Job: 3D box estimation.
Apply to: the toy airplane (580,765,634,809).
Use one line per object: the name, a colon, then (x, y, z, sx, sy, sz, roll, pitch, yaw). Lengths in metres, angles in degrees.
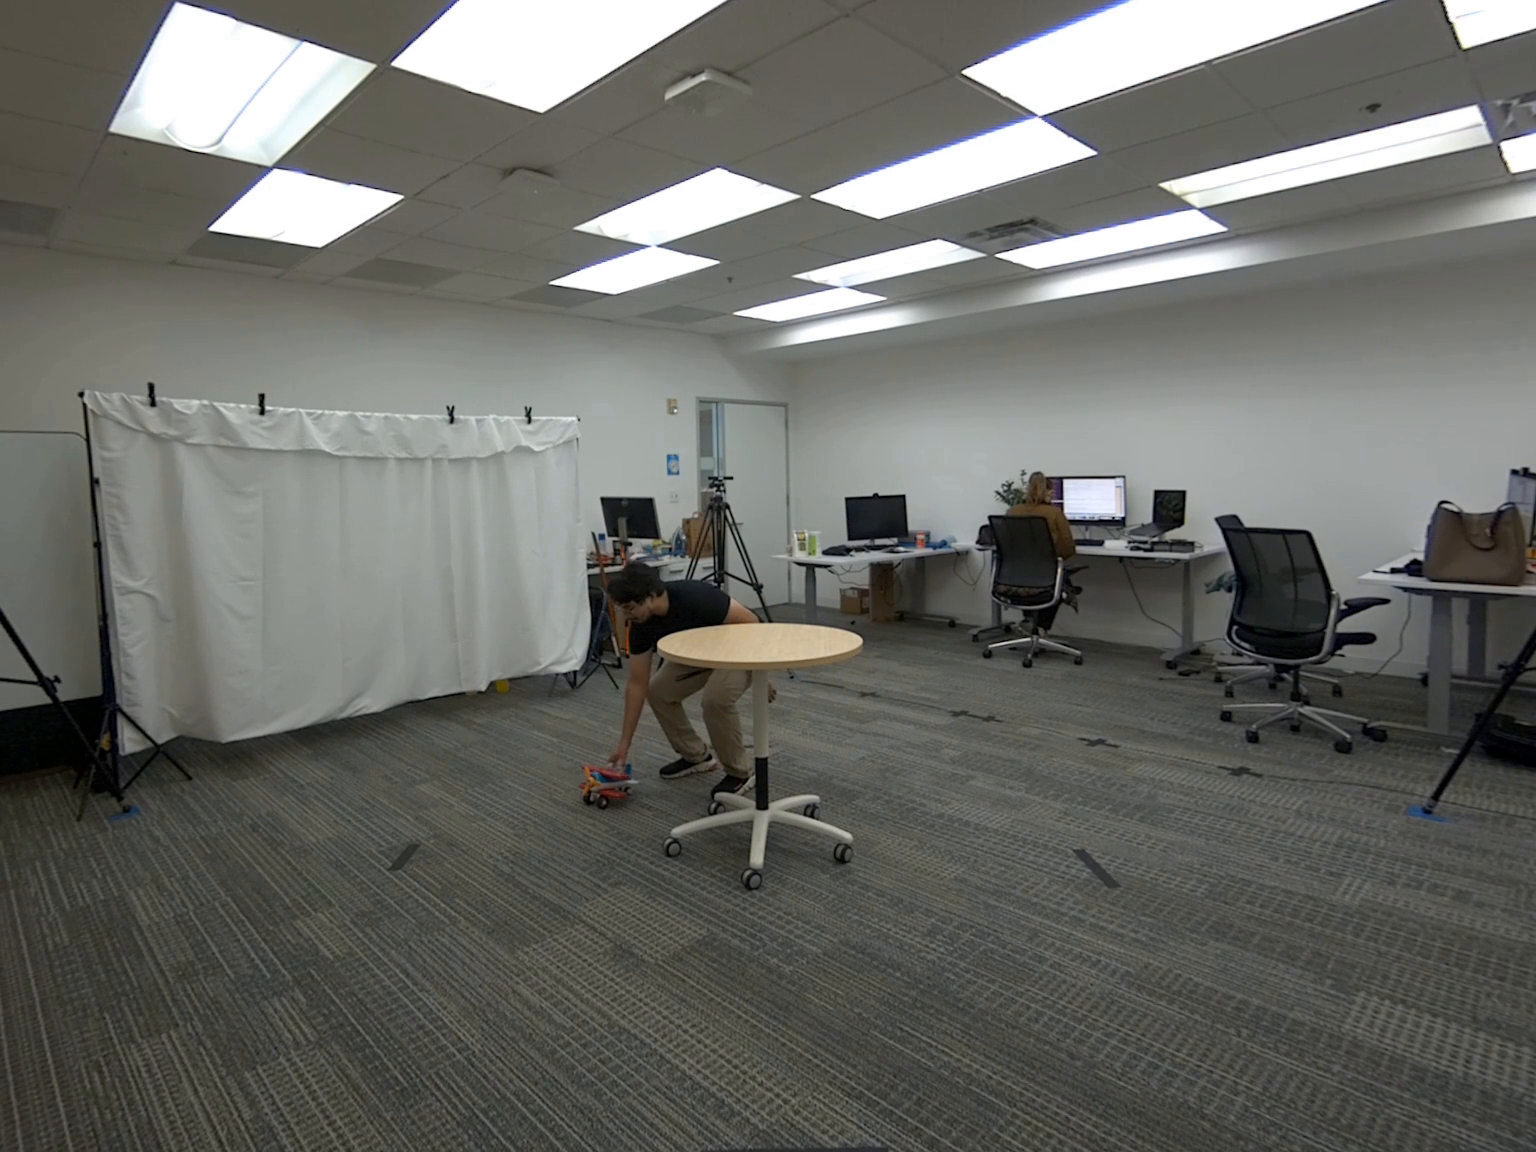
toy airplane: (-0.706, 0.907, 3.740, 0.253, 0.155, 0.258, -1, 7, 9)
